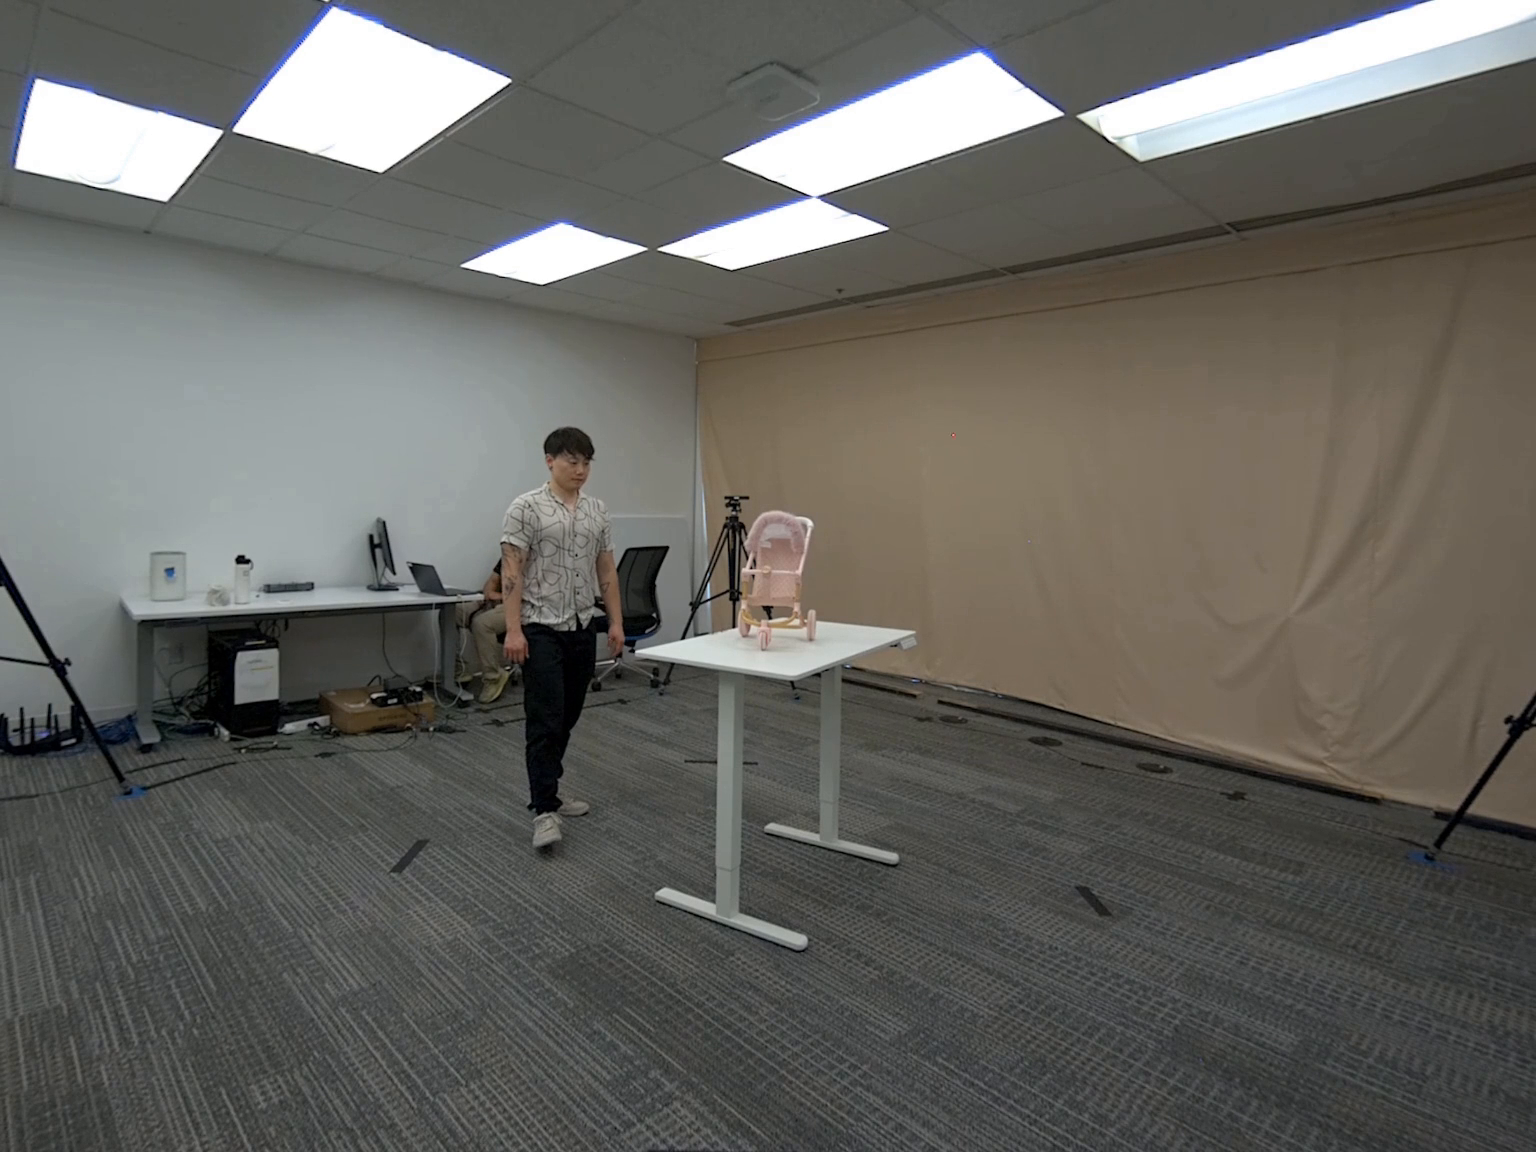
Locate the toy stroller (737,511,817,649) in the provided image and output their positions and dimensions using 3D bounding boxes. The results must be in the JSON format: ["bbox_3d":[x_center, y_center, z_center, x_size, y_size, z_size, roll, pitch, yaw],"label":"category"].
[{"bbox_3d":[0.022,0.012,3.003,0.285,0.539,0.334,2,-11,16],"label":"toy stroller"}]
